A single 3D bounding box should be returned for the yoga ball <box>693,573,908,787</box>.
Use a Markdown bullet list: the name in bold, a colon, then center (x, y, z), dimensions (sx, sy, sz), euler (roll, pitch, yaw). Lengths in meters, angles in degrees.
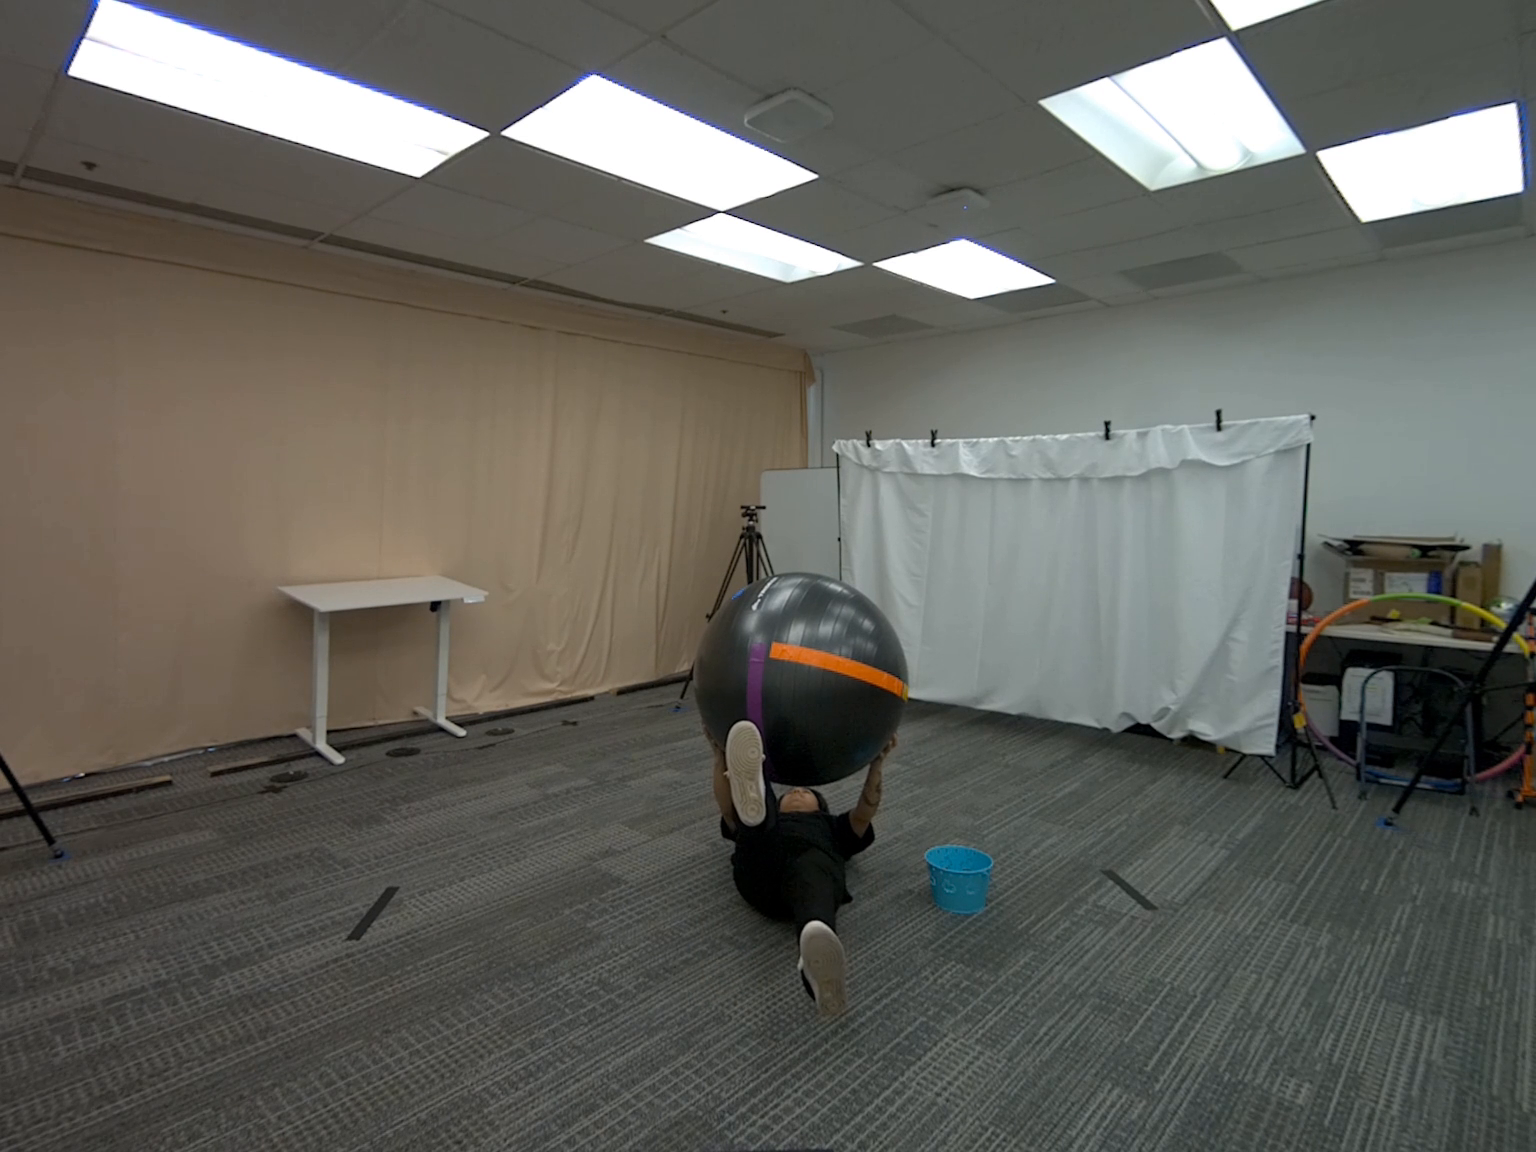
- **yoga ball**: center (0.112, 0.372, 3.031), dimensions (0.757, 0.756, 0.760), euler (0, 4, -2)
